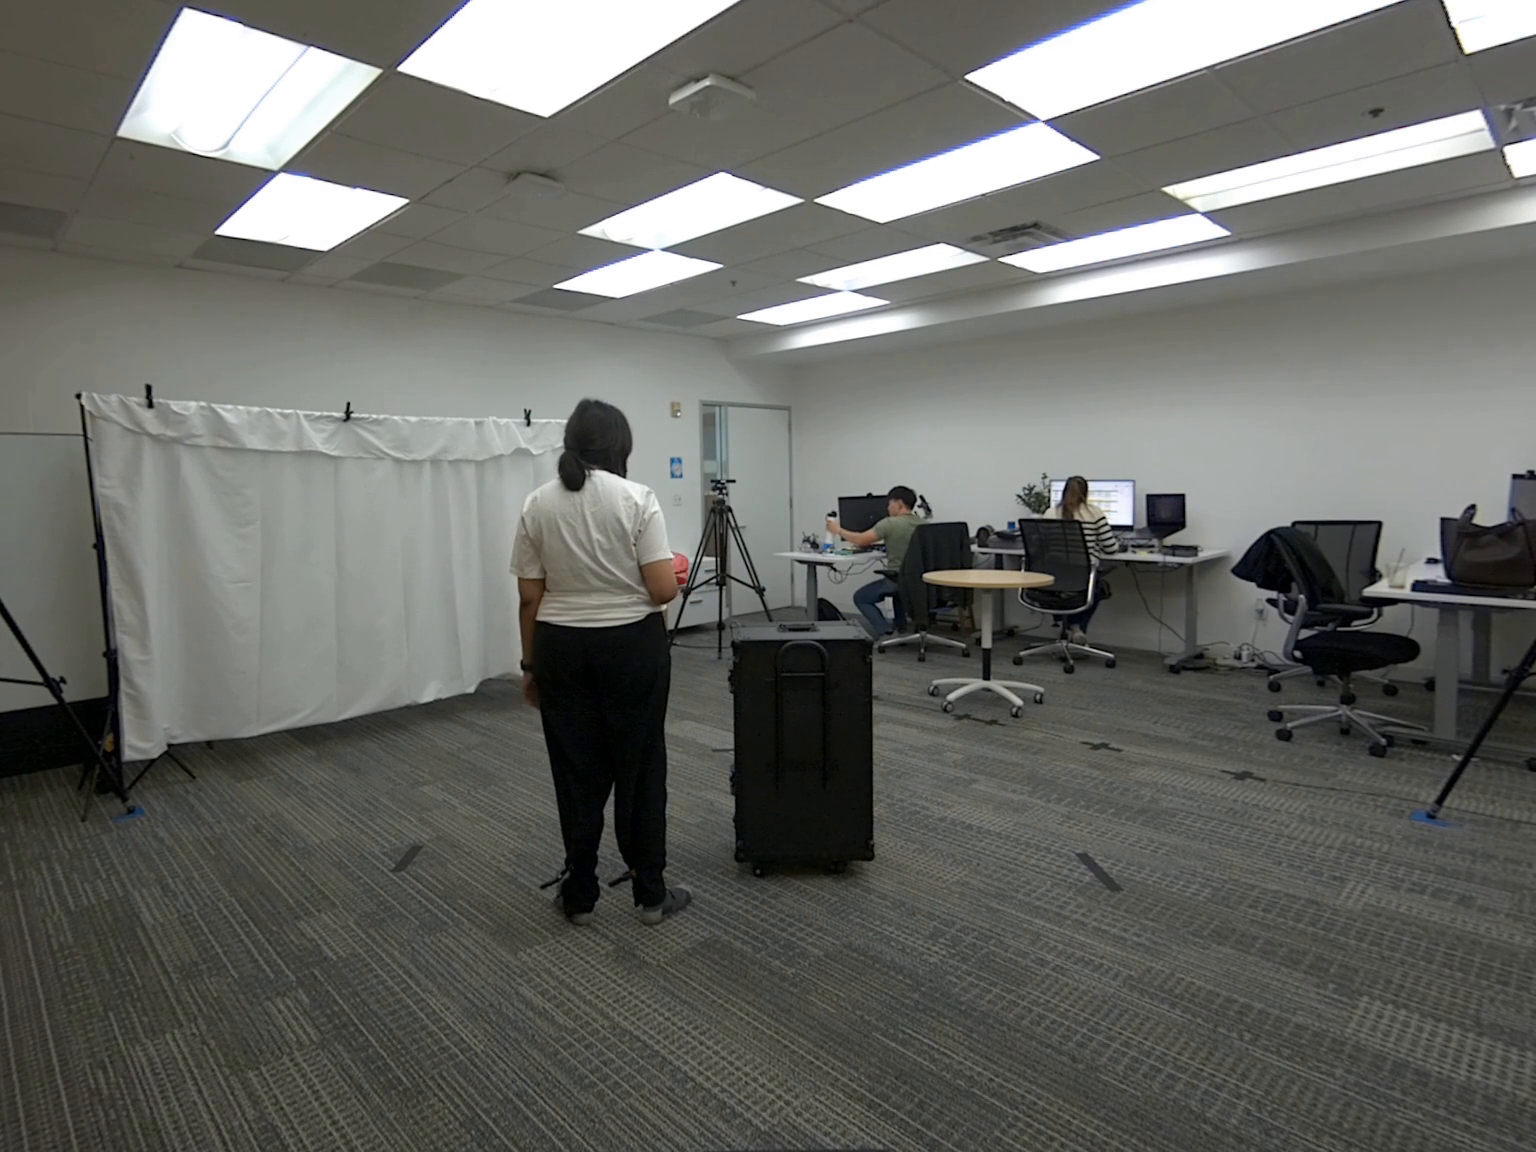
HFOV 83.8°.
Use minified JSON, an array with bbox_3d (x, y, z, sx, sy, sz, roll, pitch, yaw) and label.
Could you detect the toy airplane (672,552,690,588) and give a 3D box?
[{"bbox_3d":[-0.397,0.018,3.021,0.247,0.153,0.269,-16,43,-27],"label":"toy airplane"}]
